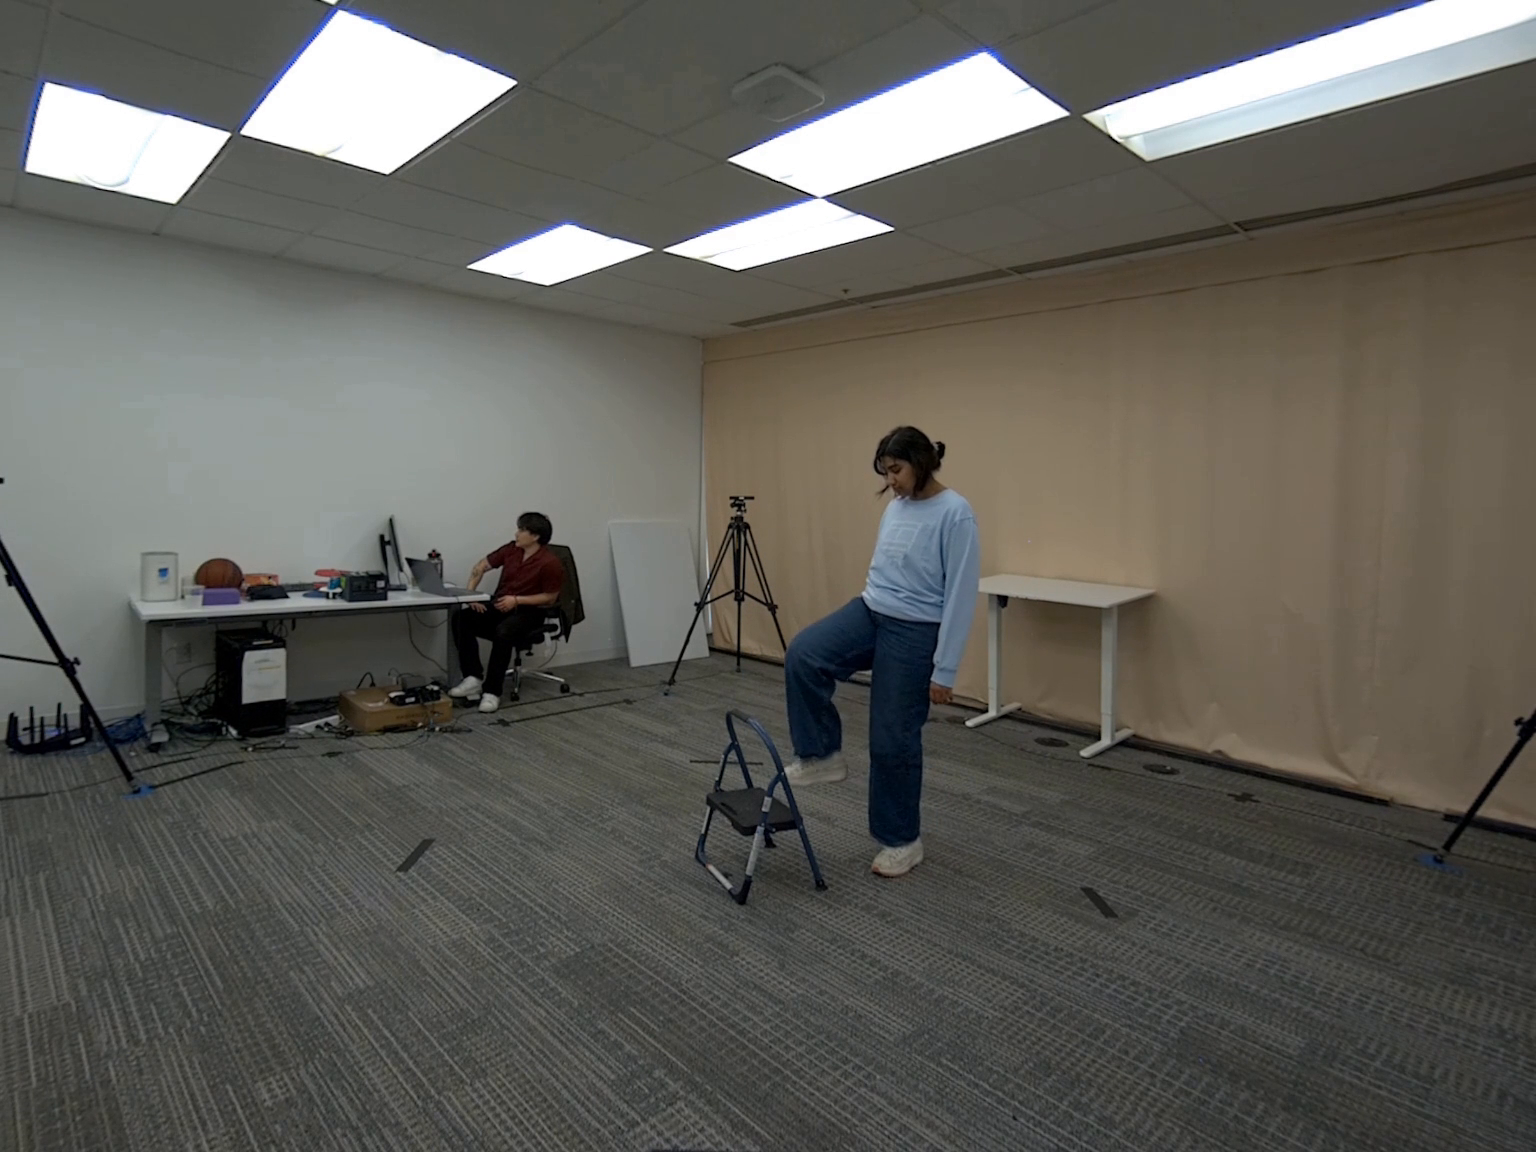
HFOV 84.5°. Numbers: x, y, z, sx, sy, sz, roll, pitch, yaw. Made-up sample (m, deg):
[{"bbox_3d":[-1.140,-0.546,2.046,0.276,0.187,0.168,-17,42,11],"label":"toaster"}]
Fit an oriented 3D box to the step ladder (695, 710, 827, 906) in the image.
[{"bbox_3d":[-0.038,0.805,3.110,0.343,0.605,0.440,0,4,-27],"label":"step ladder"}]
